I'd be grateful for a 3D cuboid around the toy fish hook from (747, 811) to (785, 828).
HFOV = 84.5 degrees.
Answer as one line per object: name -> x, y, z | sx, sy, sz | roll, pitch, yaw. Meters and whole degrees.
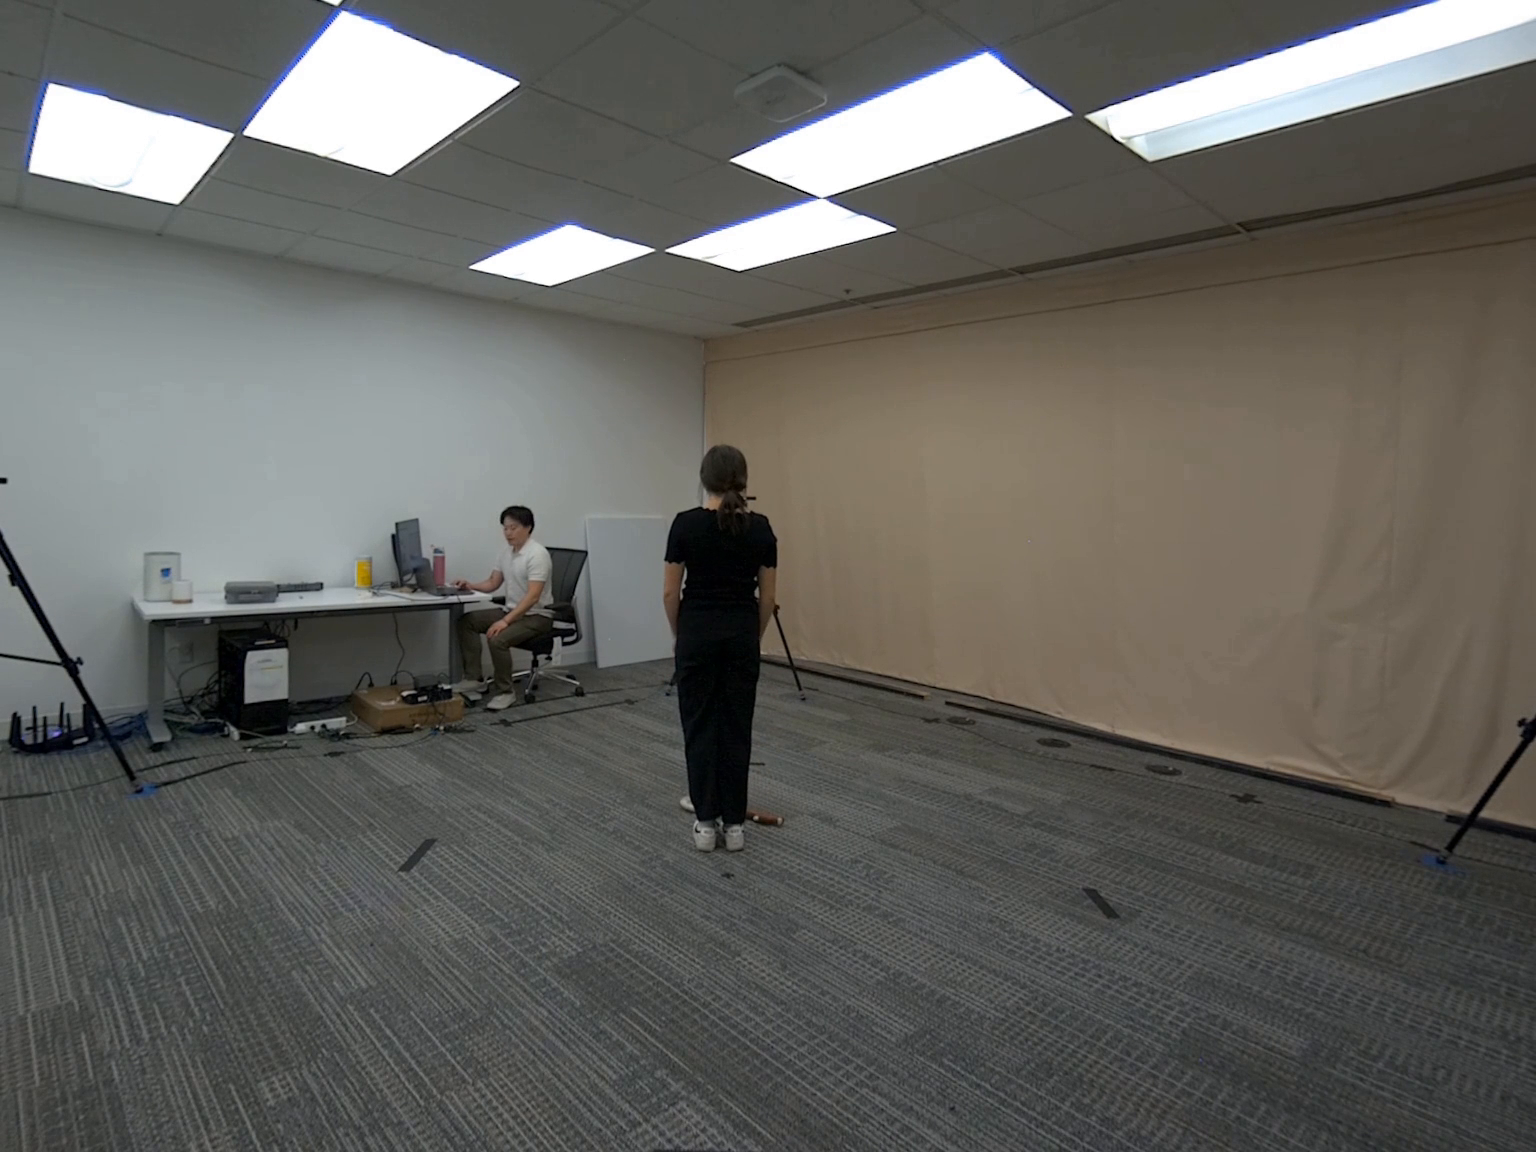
toy fish hook -> -0.154, 1.026, 3.737 | 0.517, 0.048, 0.221 | 4, 7, 25
